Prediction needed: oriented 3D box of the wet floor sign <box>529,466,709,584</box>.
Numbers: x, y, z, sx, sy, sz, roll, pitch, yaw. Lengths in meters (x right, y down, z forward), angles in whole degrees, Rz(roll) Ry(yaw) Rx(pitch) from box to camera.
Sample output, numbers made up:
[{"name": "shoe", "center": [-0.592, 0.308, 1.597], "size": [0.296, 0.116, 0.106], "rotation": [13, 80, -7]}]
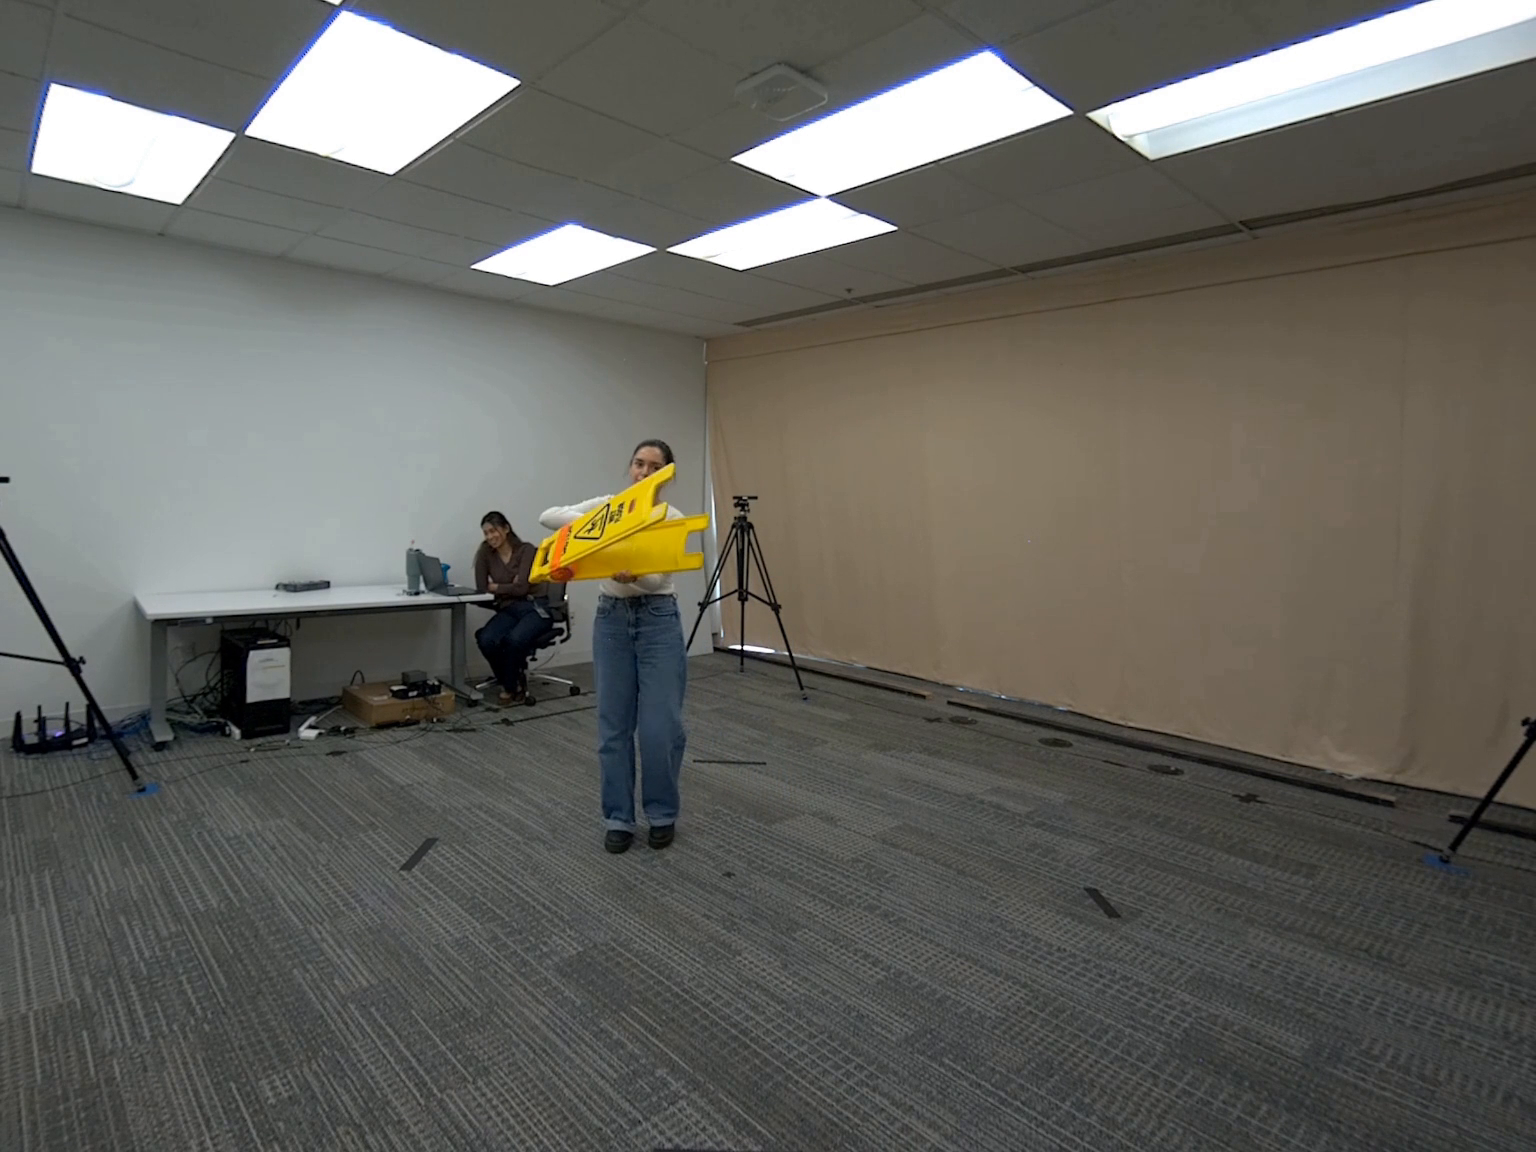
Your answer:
[{"name": "wet floor sign", "center": [-0.573, -0.125, 3.000], "size": [0.653, 0.288, 0.281], "rotation": [-15, -46, 20]}]
